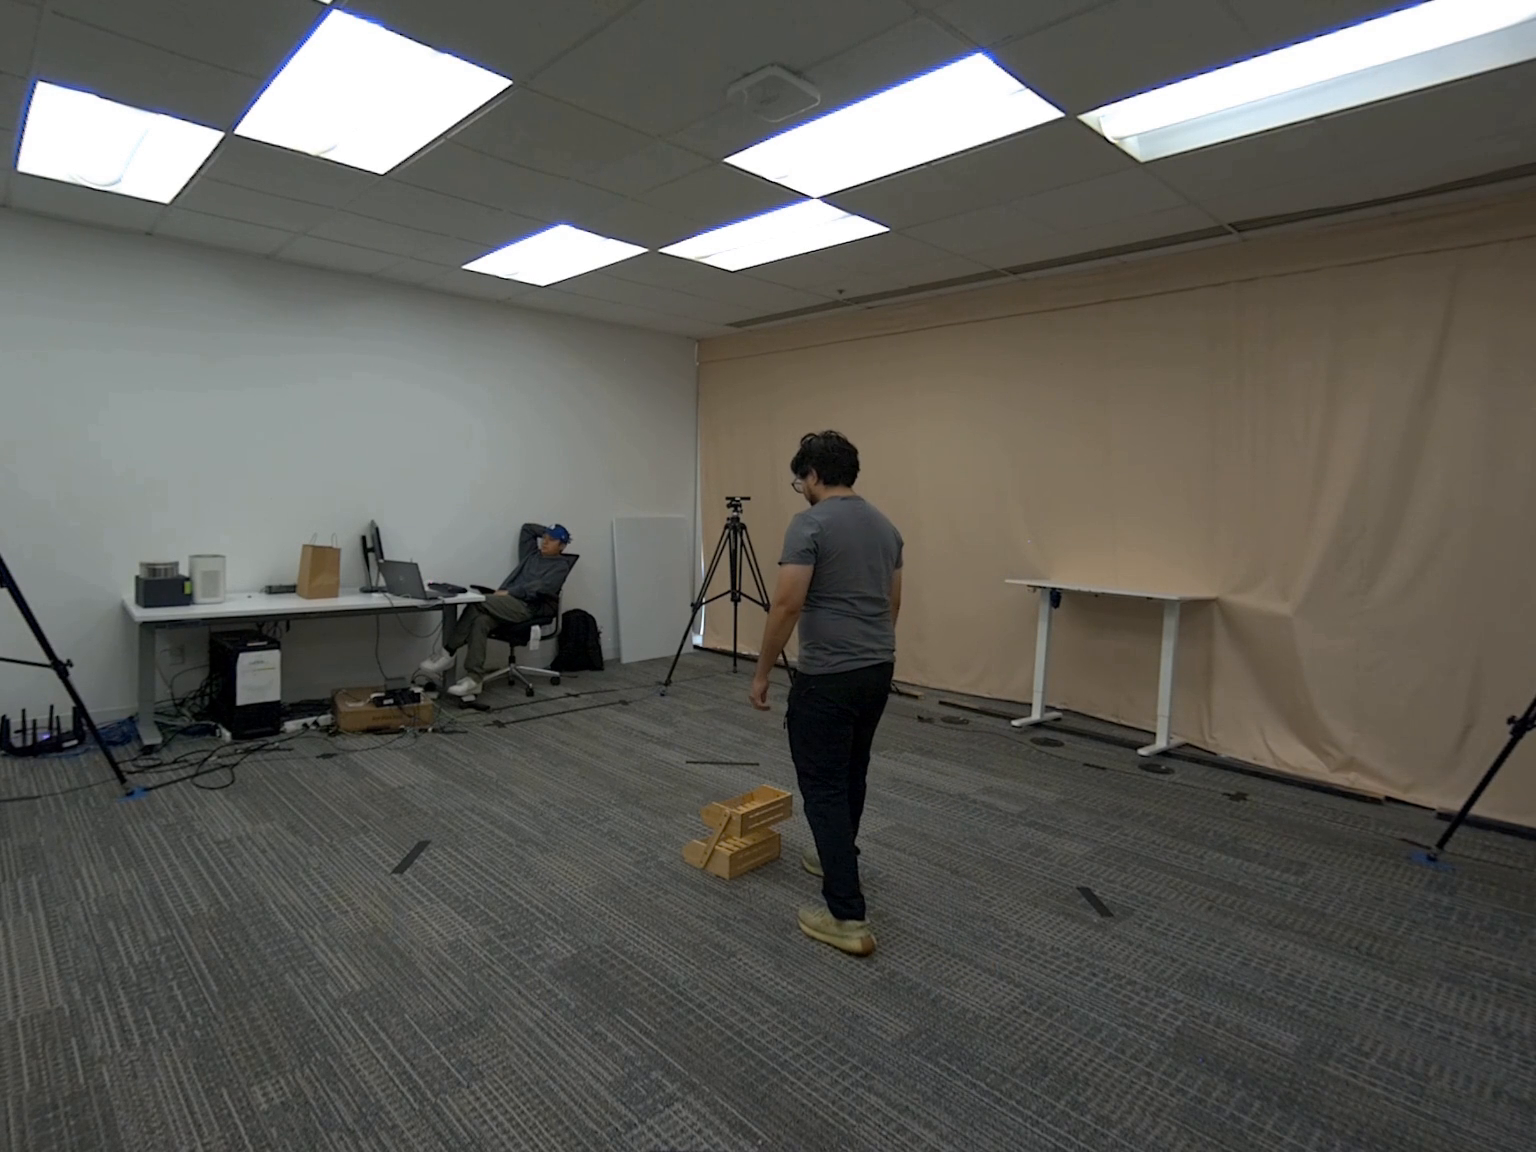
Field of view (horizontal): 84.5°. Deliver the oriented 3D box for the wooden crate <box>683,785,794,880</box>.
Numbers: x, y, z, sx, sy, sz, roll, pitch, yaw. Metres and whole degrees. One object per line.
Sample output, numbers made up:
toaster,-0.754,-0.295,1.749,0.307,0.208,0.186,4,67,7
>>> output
wooden crate,-0.123,0.956,3.237,0.310,0.272,0.317,5,5,41
